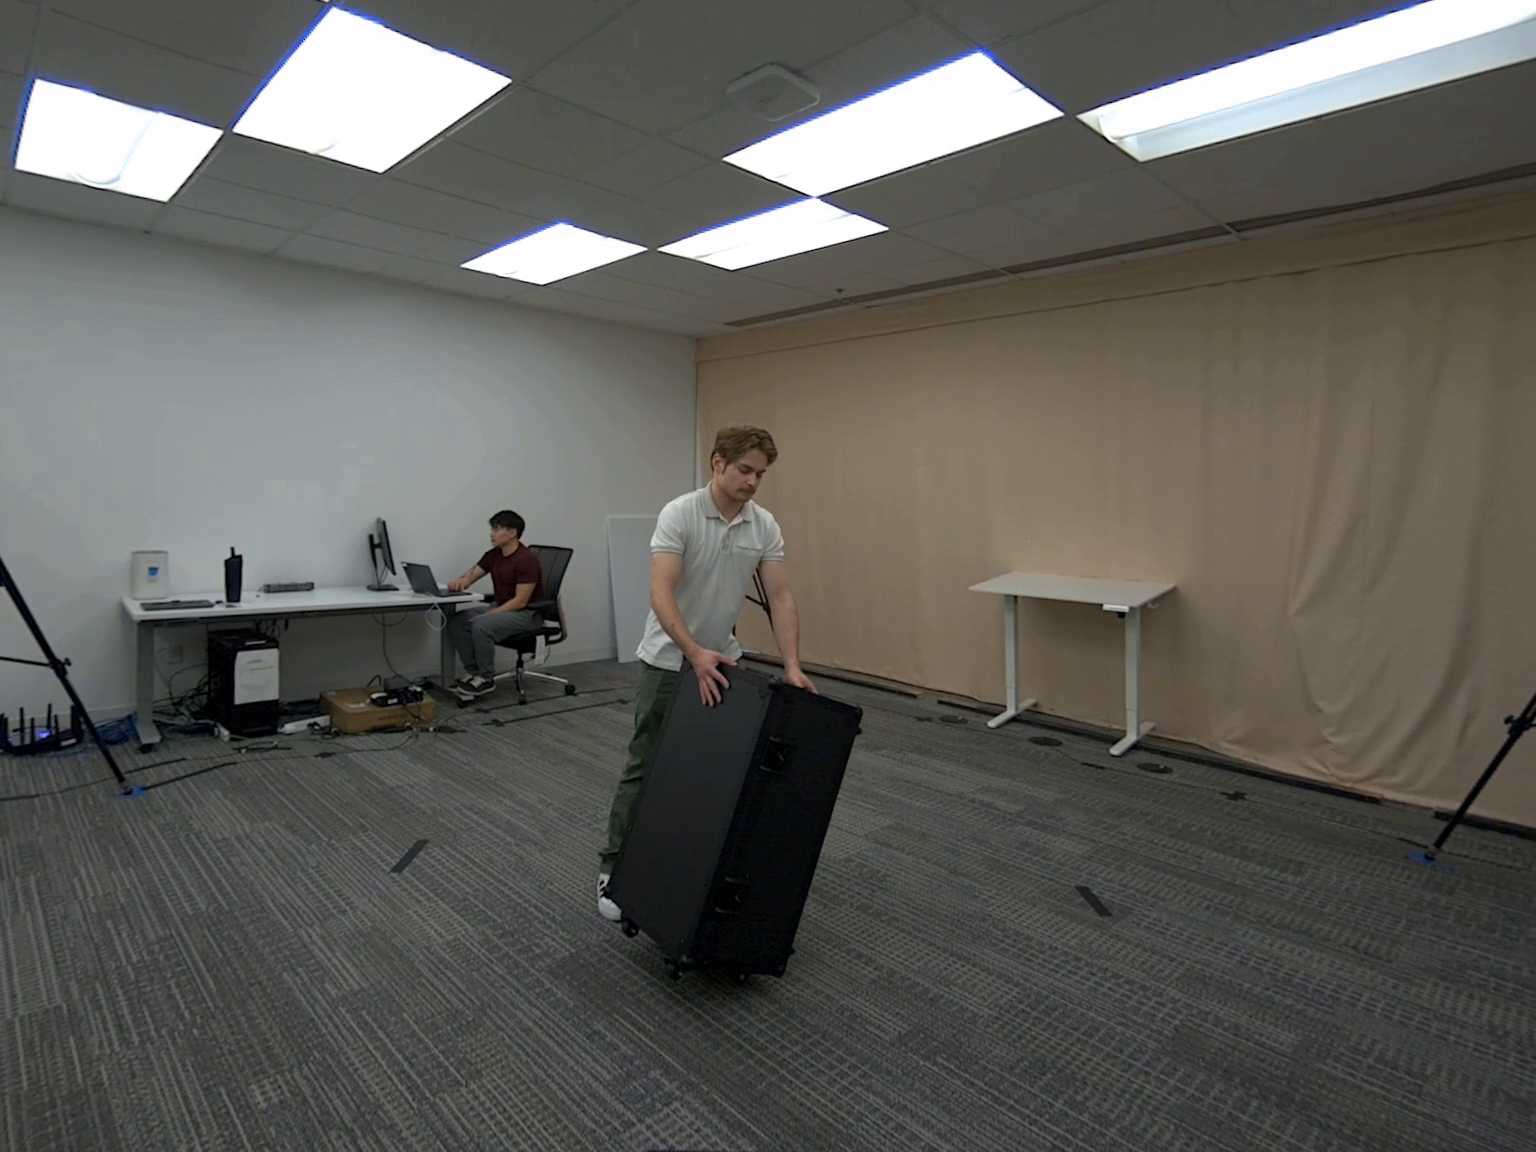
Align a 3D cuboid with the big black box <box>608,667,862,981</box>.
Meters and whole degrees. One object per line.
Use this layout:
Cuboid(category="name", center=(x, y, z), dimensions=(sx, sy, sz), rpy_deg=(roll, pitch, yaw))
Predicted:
Cuboid(category="big black box", center=(-0.122, 0.724, 2.525), dimensions=(0.374, 0.872, 0.536), rpy_deg=(24, -10, -35))
